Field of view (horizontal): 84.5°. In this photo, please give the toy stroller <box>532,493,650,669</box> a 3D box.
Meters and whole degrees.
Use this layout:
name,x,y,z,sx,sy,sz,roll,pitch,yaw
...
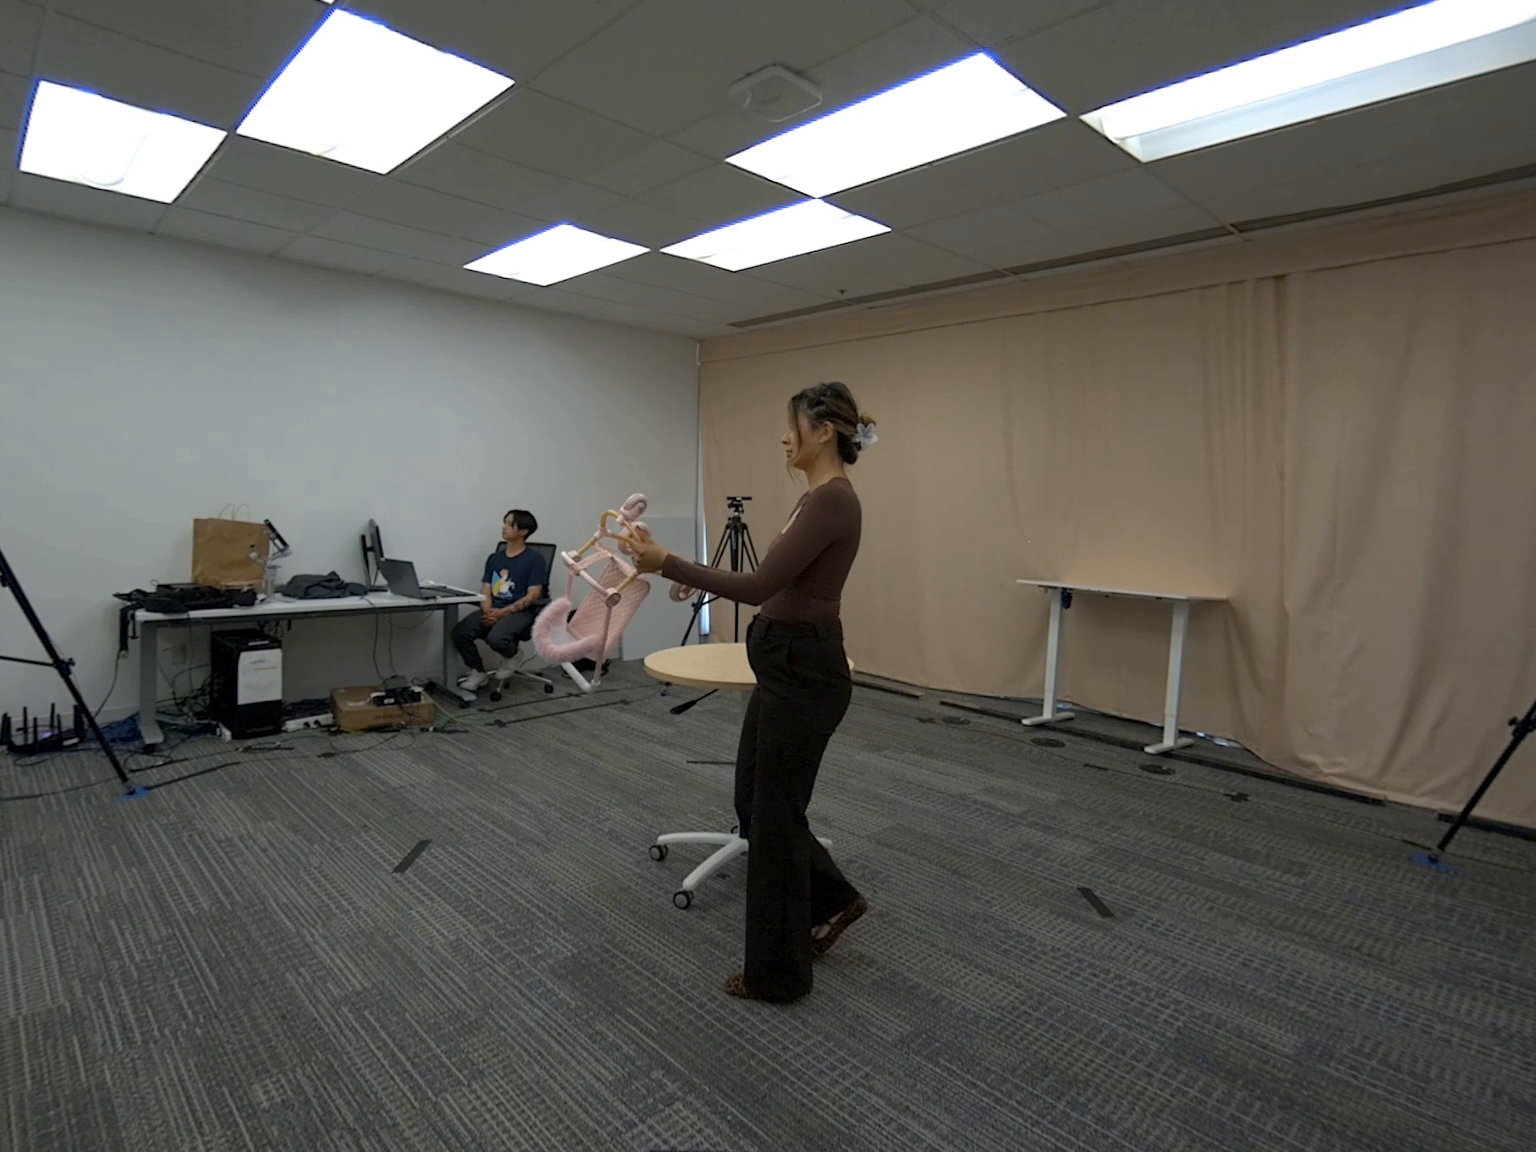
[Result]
name,x,y,z,sx,sy,sz,roll,pitch,yaw
toy stroller,-0.447,0.041,2.319,0.289,0.535,0.332,40,-3,29
